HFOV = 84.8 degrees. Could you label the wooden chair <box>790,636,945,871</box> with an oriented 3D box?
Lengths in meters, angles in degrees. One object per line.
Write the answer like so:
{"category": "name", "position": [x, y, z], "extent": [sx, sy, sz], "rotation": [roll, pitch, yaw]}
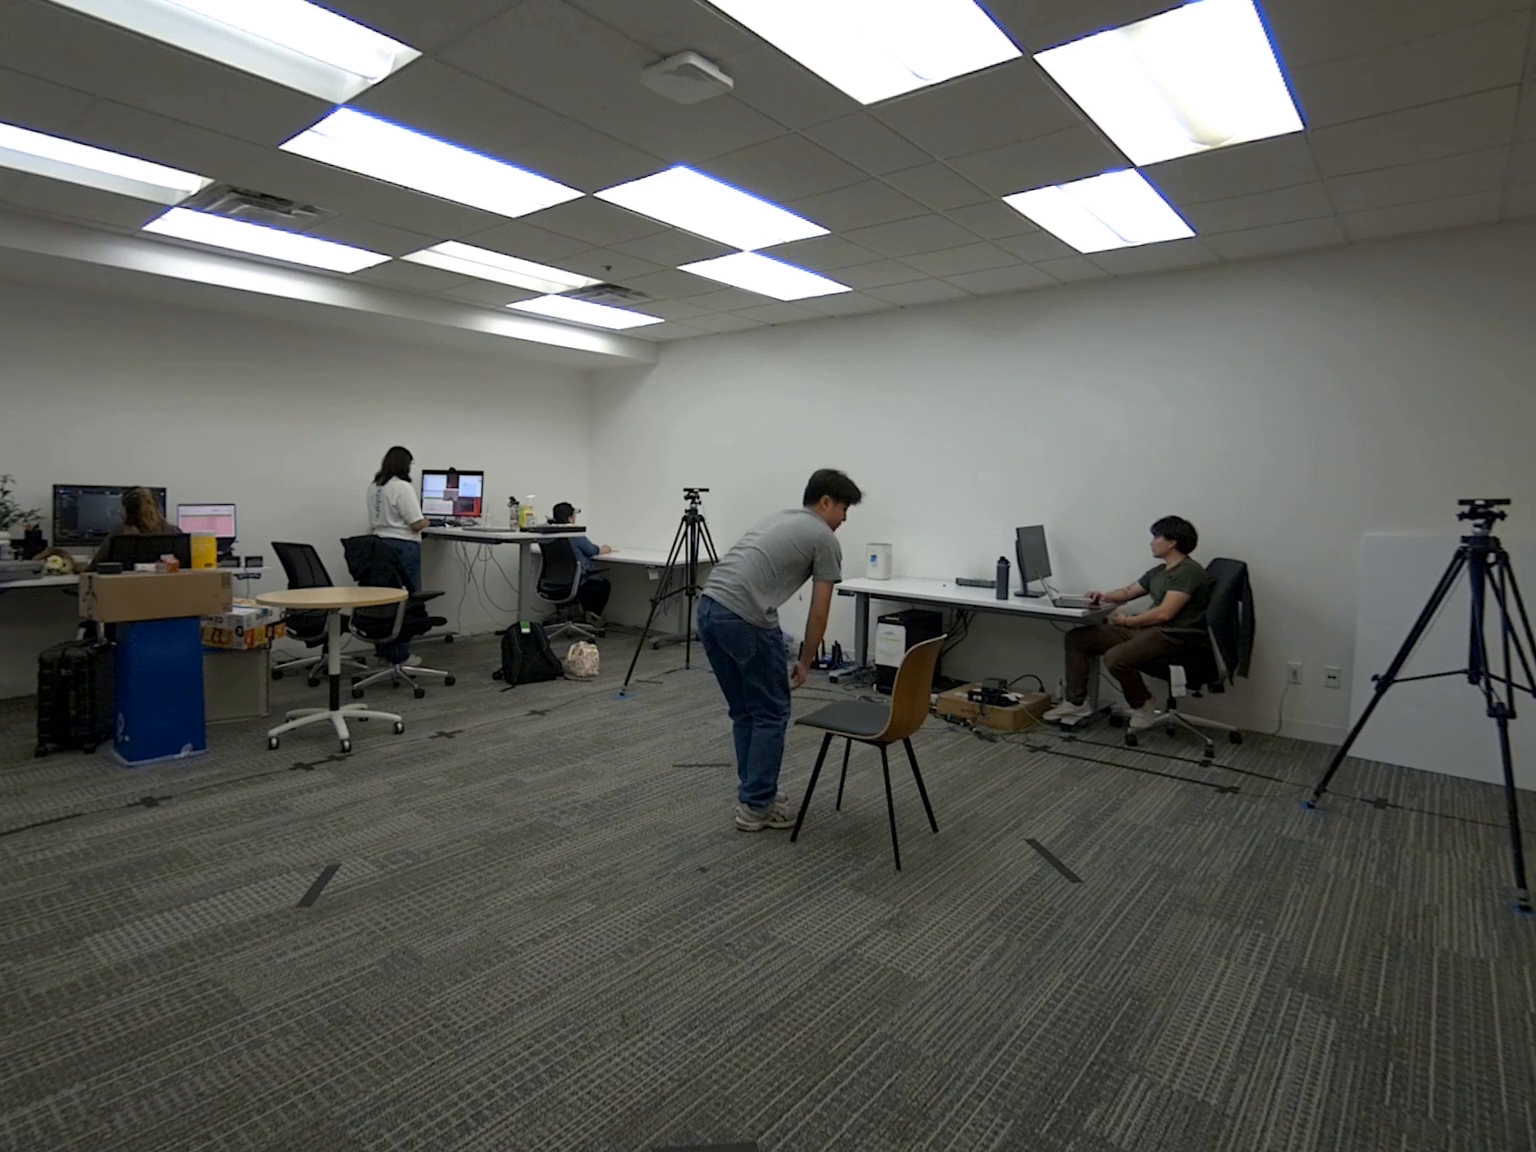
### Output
{"category": "wooden chair", "position": [0.388, 0.626, 3.415], "extent": [0.540, 0.873, 0.465], "rotation": [8, 6, 30]}
